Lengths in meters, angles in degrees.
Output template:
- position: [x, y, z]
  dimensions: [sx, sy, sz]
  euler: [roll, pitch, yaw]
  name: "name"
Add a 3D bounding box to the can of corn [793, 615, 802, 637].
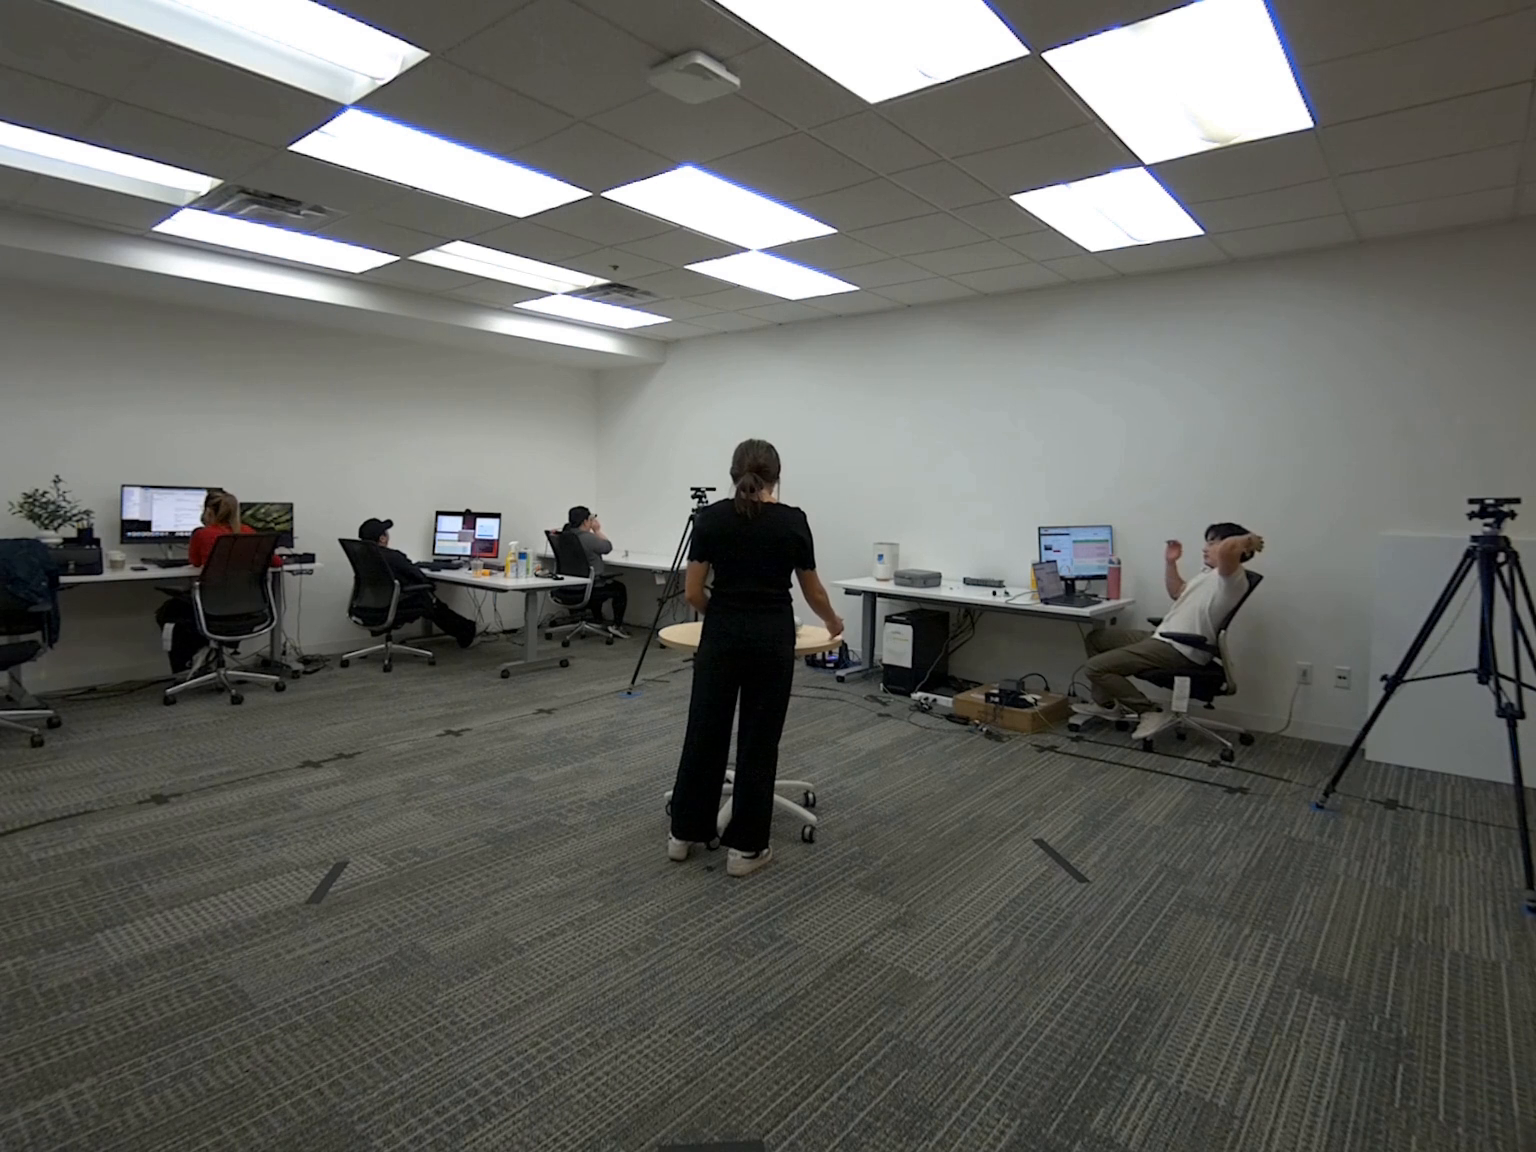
- position: [0.091, 0.204, 3.545]
  dimensions: [0.075, 0.074, 0.110]
  euler: [2, 4, 11]
  name: "can of corn"
